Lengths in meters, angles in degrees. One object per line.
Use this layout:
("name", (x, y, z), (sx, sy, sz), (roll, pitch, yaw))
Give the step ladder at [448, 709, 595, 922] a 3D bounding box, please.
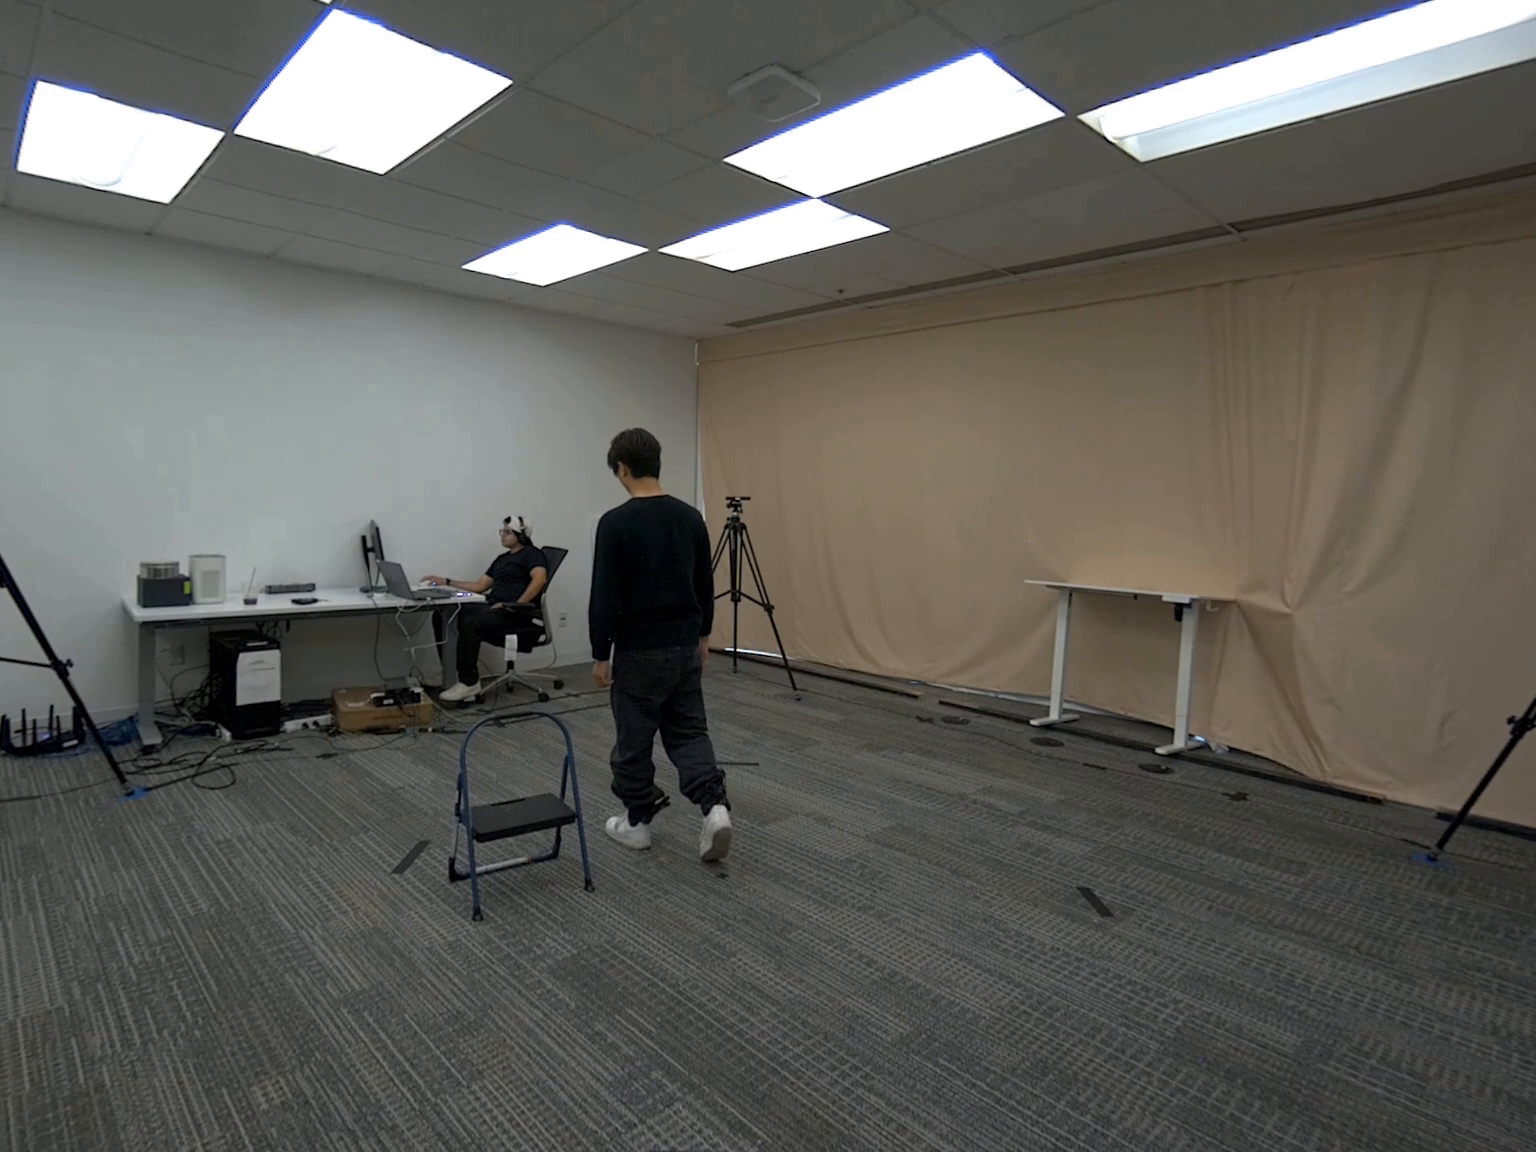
("step ladder", (-0.881, 0.802, 2.975), (0.421, 0.604, 0.358), (-2, 5, -36))
